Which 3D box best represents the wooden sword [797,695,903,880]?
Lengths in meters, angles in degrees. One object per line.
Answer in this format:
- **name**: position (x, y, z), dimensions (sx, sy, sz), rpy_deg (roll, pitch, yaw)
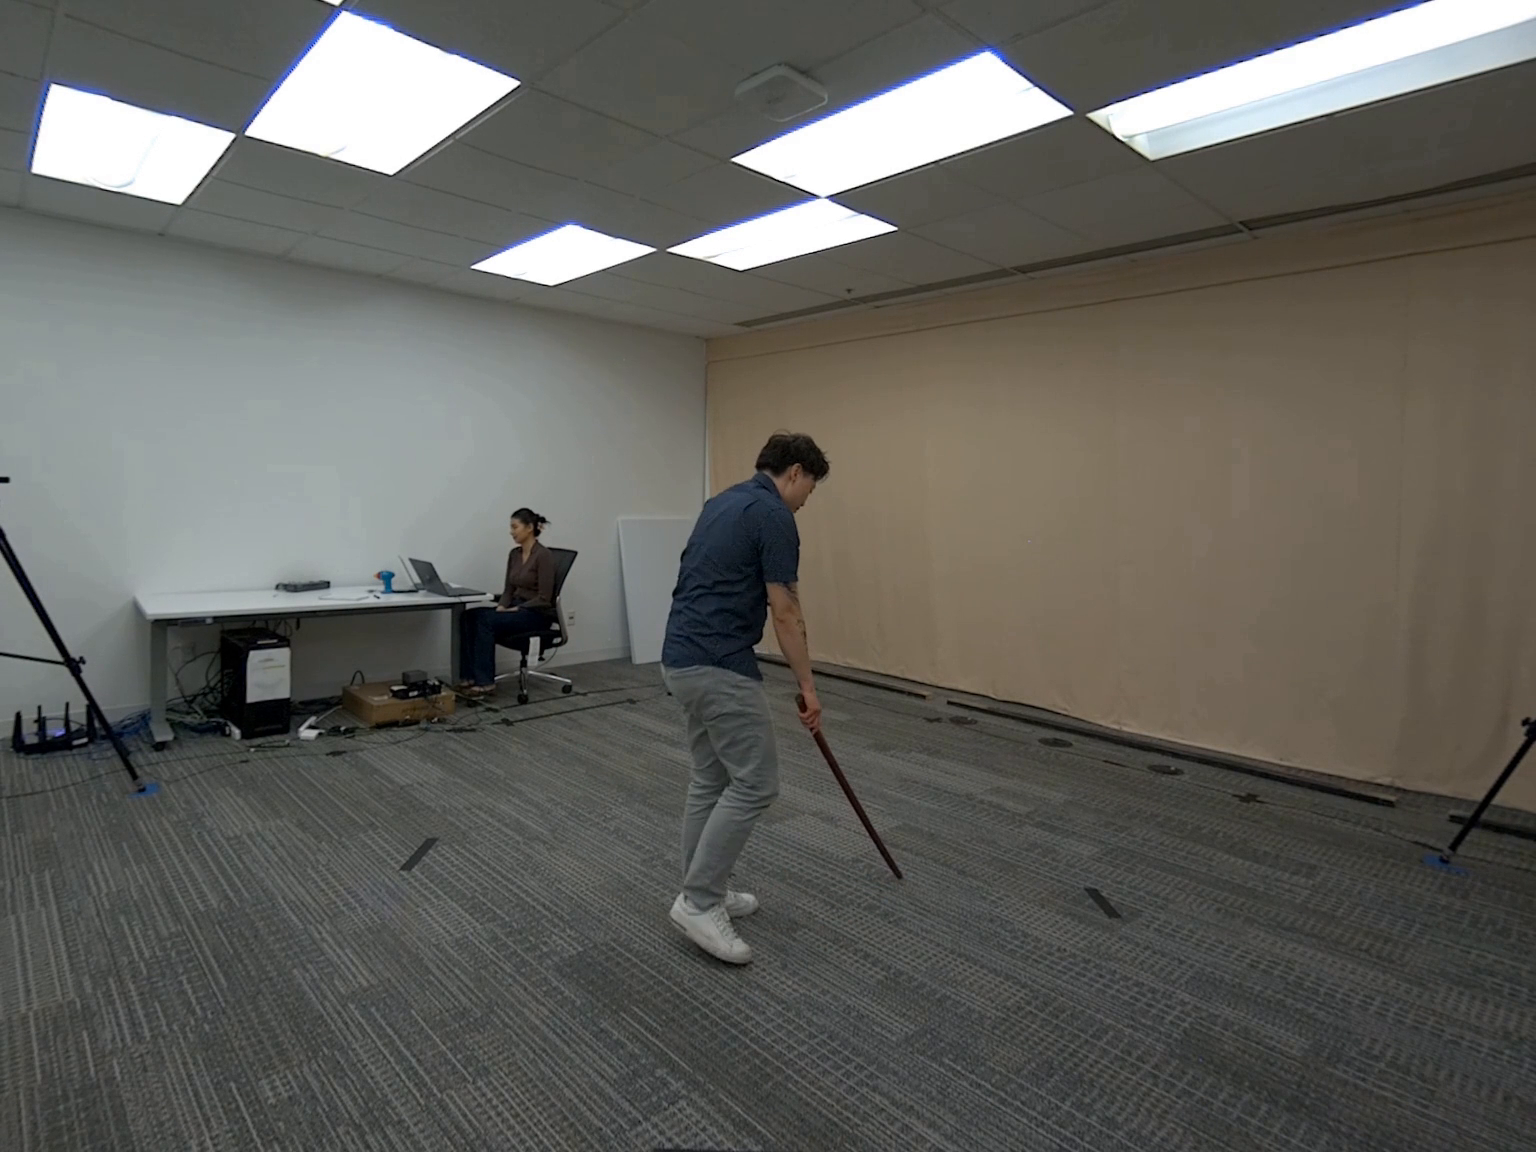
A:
- **wooden sword**: position (0.281, 0.759, 2.855), dimensions (0.024, 0.996, 0.052), rpy_deg (-15, 36, 22)
